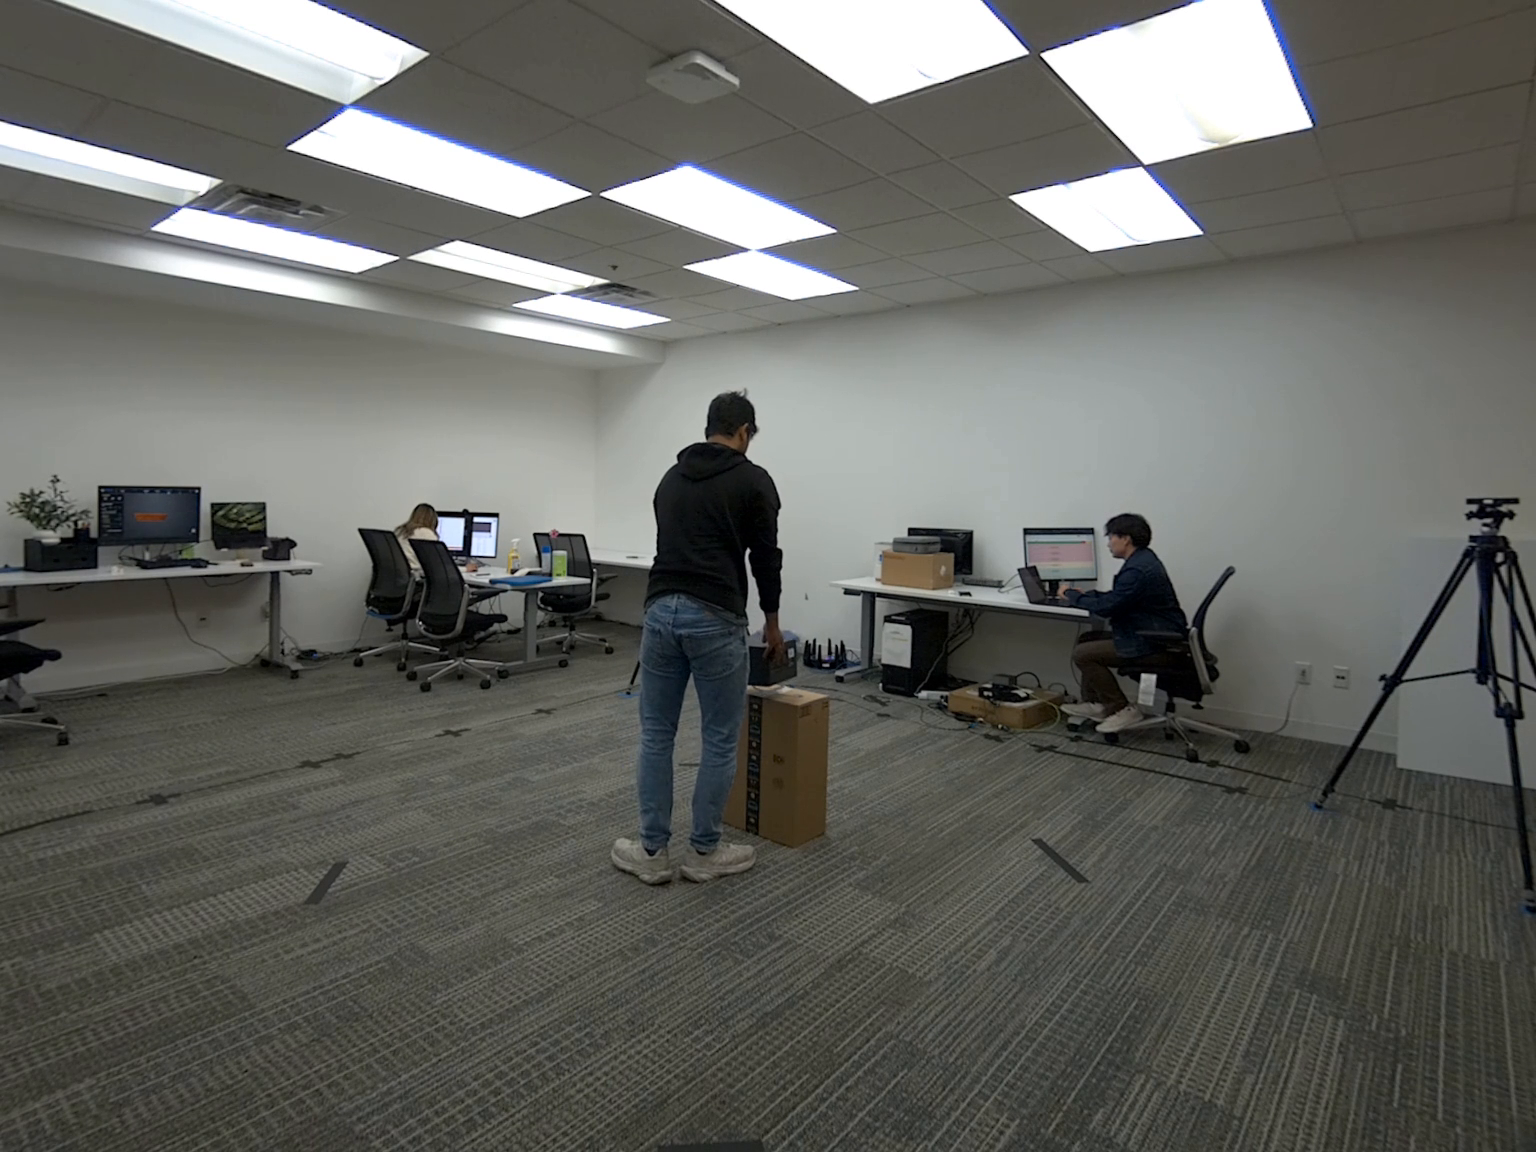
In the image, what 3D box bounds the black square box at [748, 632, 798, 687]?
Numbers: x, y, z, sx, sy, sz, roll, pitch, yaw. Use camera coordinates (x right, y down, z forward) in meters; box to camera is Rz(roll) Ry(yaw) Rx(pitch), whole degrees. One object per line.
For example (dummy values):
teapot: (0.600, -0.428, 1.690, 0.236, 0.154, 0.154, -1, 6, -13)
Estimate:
black square box: (-0.053, 0.332, 3.414, 0.235, 0.155, 0.211, 1, 7, 34)
